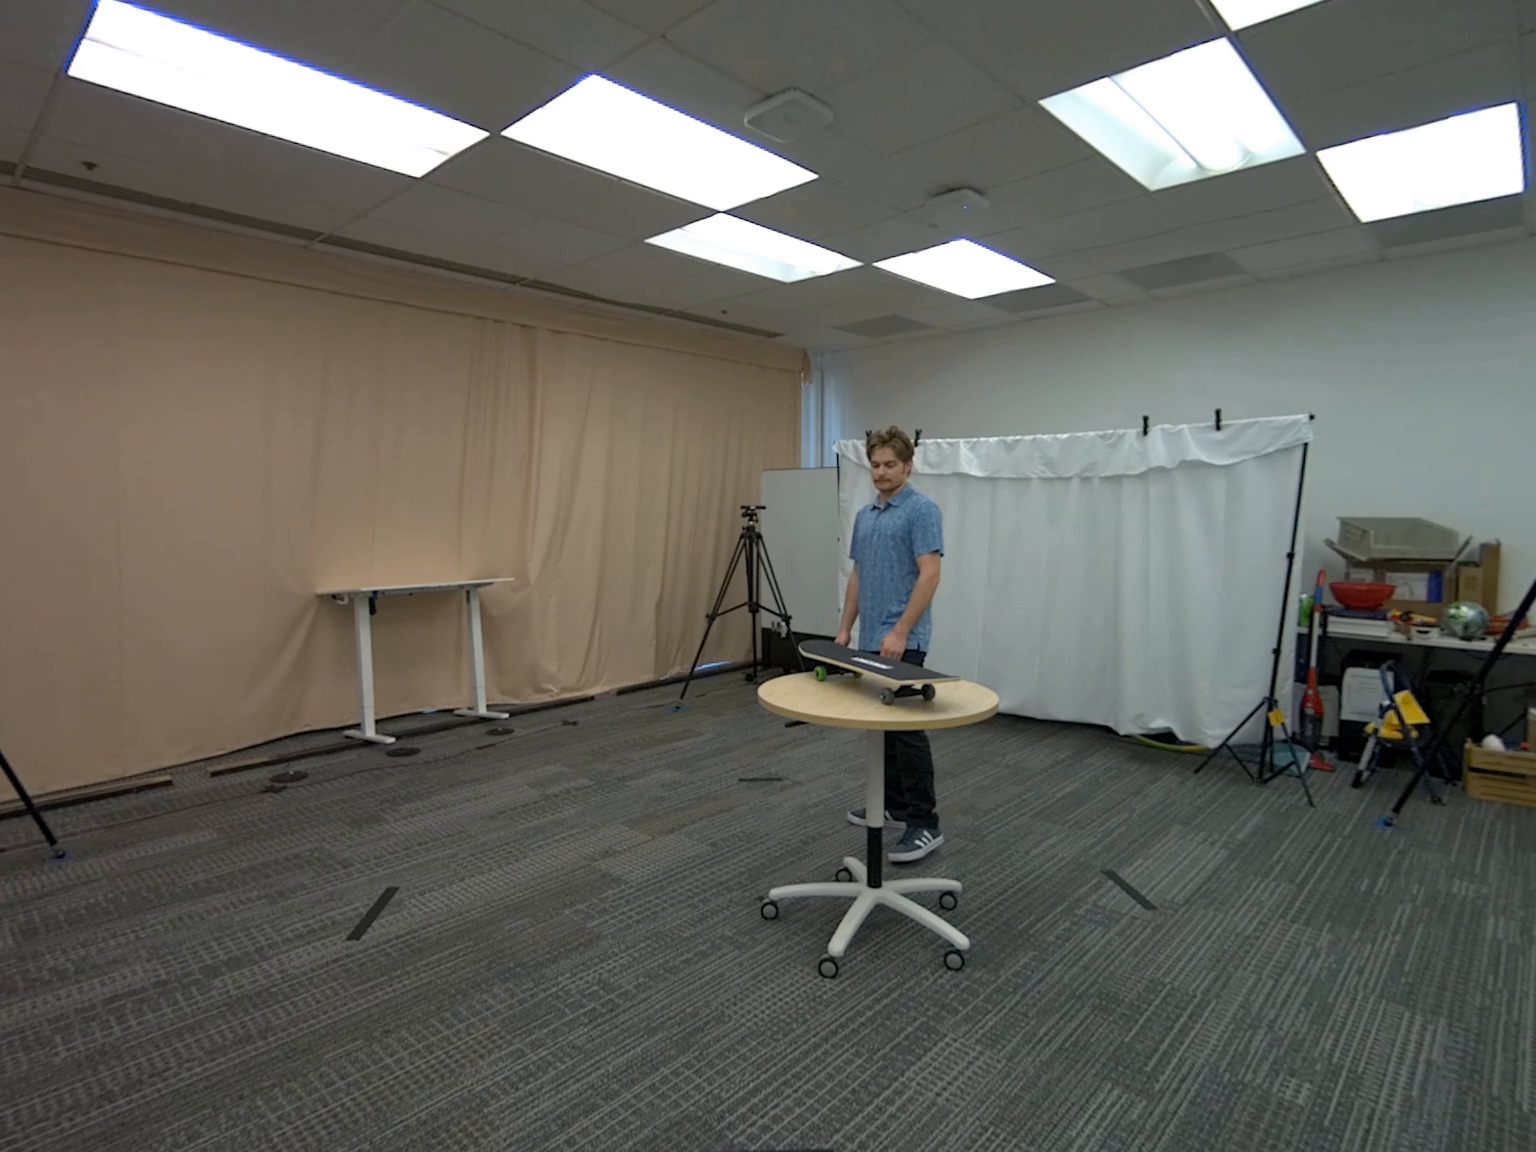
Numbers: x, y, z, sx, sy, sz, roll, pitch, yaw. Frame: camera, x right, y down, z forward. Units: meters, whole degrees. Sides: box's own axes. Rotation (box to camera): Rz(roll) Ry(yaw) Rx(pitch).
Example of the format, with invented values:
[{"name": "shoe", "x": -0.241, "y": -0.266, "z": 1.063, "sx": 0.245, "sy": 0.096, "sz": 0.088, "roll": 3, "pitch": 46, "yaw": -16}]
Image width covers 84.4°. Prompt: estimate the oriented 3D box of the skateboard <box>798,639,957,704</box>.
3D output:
[{"name": "skateboard", "x": 0.349, "y": 0.327, "z": 2.769, "sx": 0.189, "sy": 0.110, "sz": 0.806, "roll": -1, "pitch": 4, "yaw": -25}]
